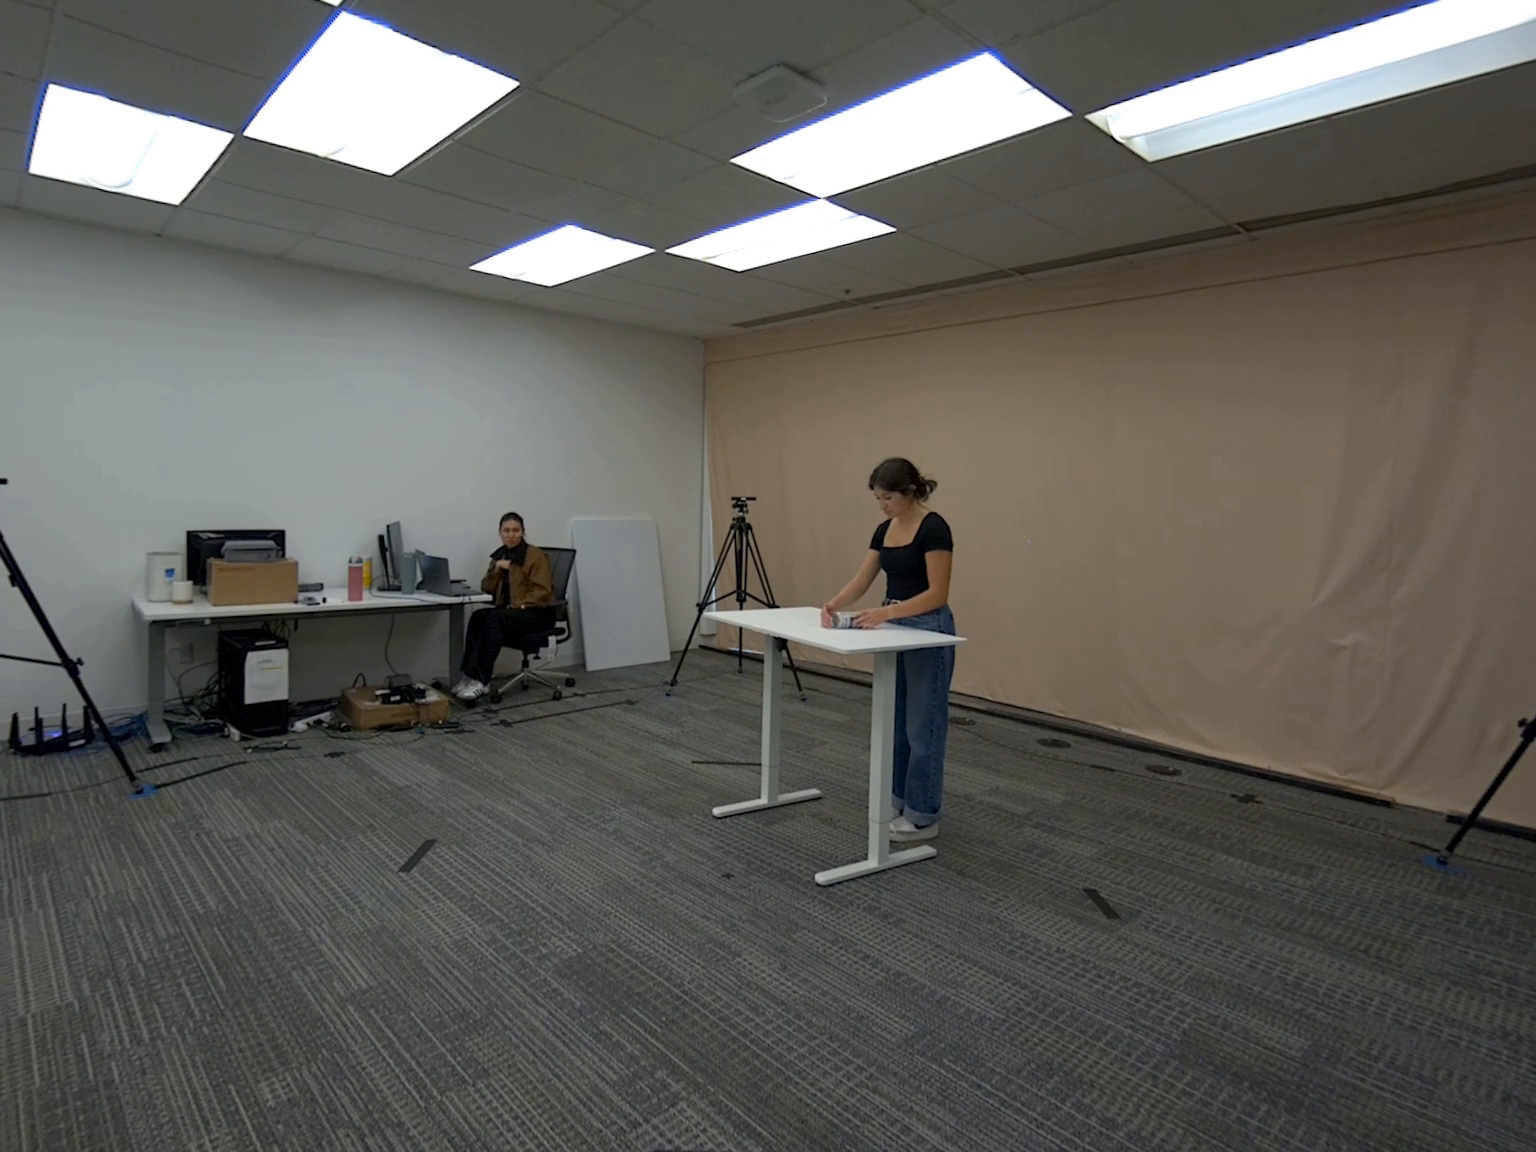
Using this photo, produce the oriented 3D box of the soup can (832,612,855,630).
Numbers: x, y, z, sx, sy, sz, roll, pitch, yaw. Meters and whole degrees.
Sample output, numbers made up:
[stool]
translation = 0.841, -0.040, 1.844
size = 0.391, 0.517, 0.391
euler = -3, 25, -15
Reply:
[soup can]
translation = 0.314, 0.180, 3.404
size = 0.120, 0.067, 0.068
euler = -1, 5, -16
